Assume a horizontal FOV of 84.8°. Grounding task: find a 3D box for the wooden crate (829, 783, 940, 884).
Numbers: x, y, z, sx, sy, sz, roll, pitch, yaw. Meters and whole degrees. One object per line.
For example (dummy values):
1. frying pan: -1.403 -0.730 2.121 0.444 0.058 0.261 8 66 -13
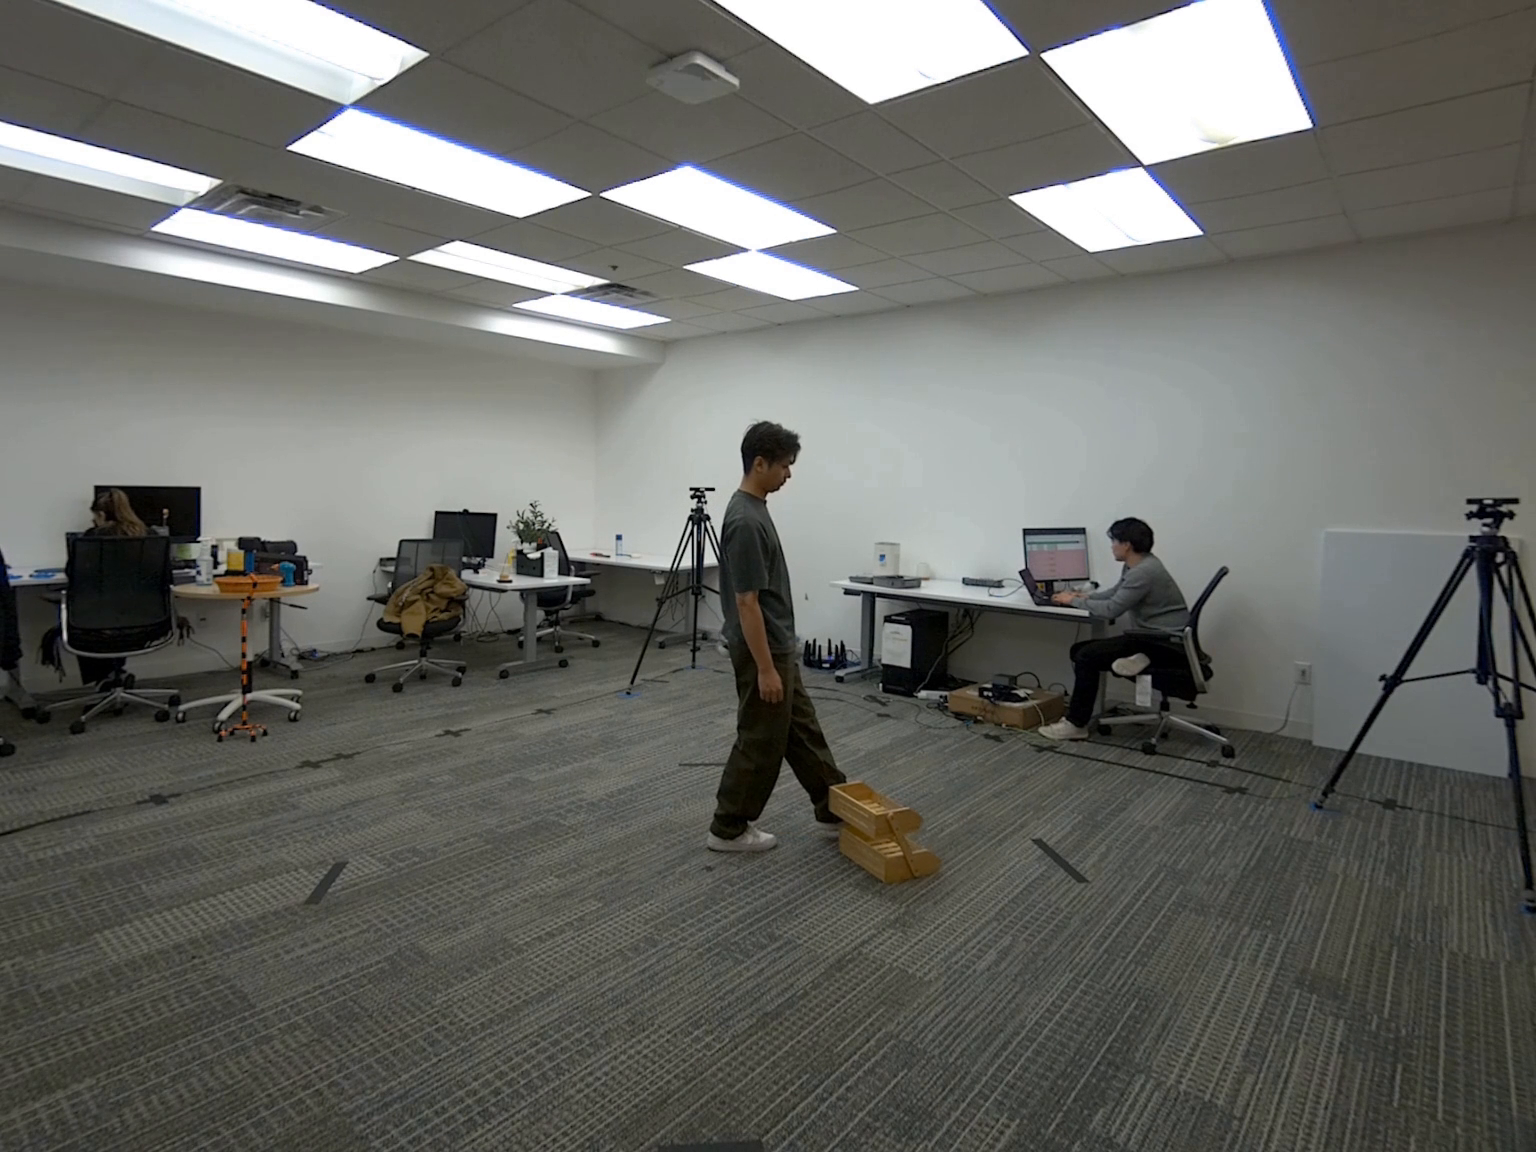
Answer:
1. wooden crate: 0.431 0.939 3.197 0.294 0.272 0.334 0 5 -28
